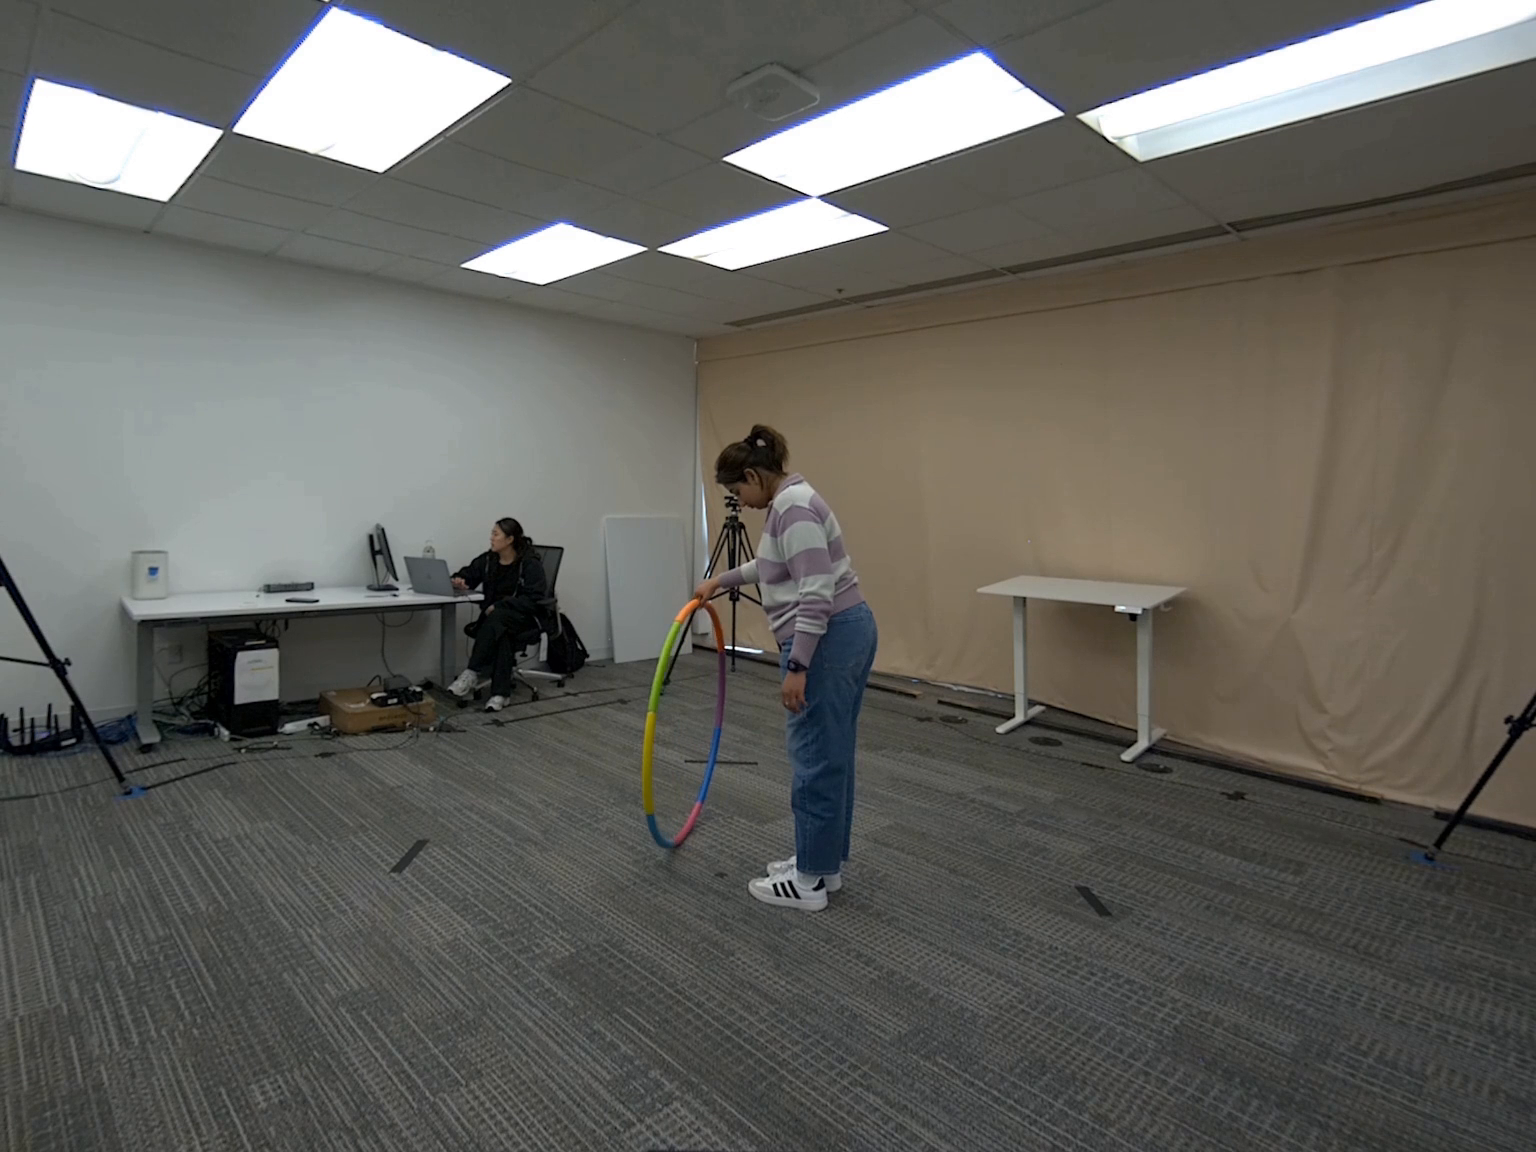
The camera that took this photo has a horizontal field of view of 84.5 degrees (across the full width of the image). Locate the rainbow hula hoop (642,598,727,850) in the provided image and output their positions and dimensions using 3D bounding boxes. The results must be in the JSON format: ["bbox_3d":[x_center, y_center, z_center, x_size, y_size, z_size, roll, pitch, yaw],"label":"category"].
[{"bbox_3d":[-0.322,0.589,3.401,0.036,0.976,0.970,4,5,13],"label":"rainbow hula hoop"}]
